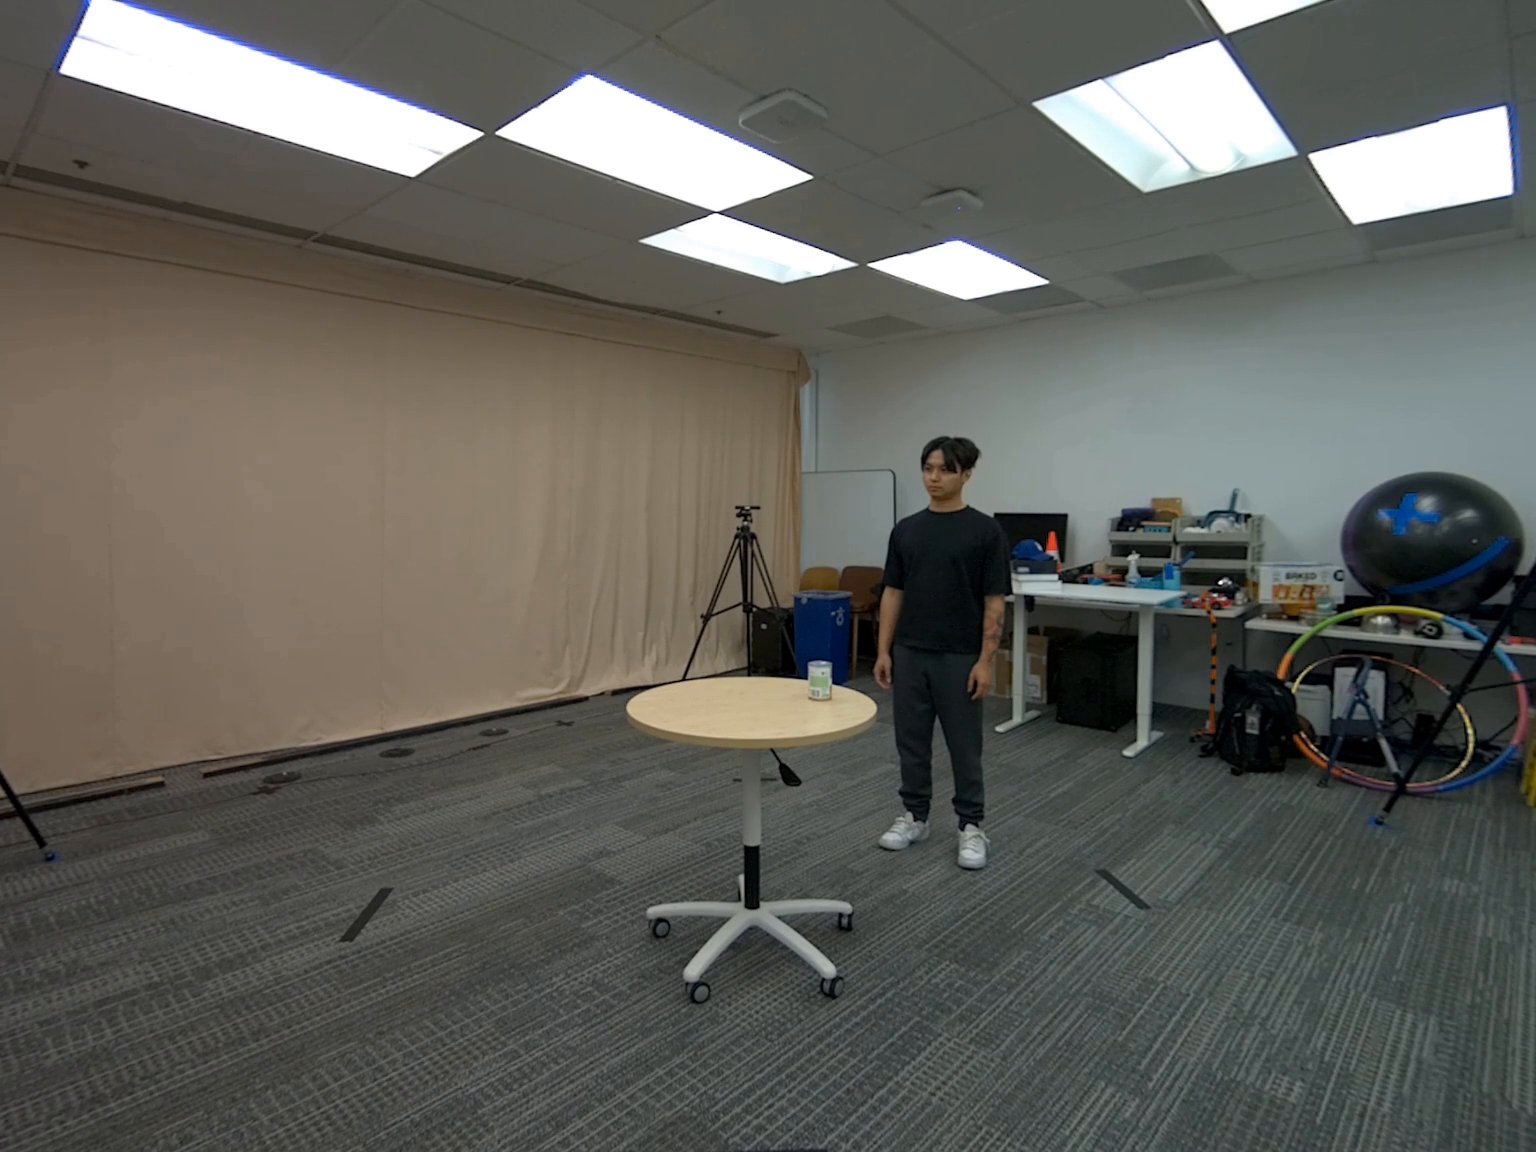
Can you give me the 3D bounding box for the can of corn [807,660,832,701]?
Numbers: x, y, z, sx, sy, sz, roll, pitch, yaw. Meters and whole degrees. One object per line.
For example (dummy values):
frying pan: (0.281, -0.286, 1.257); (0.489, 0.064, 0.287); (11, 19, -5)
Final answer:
can of corn: (0.169, 0.332, 2.648); (0.074, 0.111, 0.074); (-1, 4, -2)
